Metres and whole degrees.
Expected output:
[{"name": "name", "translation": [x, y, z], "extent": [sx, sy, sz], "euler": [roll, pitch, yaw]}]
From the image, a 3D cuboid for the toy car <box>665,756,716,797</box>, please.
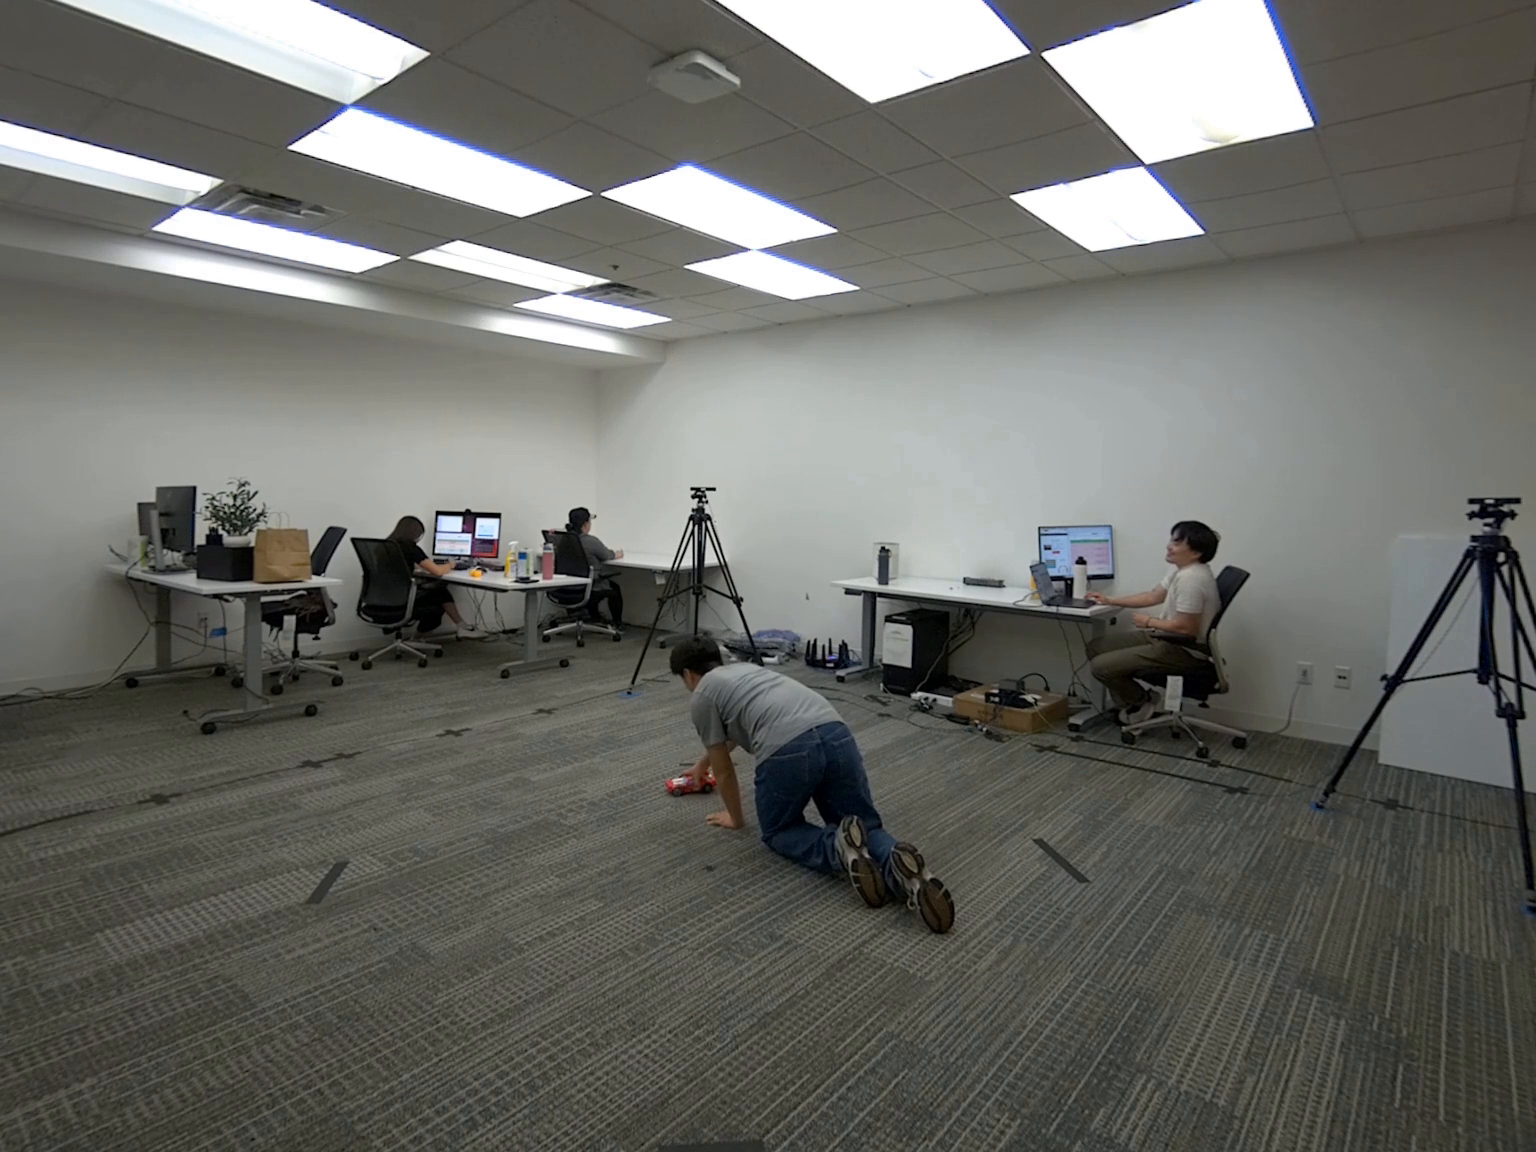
[{"name": "toy car", "translation": [-0.350, 0.953, 3.920], "extent": [0.251, 0.082, 0.133], "euler": [-13, 9, -19]}]
